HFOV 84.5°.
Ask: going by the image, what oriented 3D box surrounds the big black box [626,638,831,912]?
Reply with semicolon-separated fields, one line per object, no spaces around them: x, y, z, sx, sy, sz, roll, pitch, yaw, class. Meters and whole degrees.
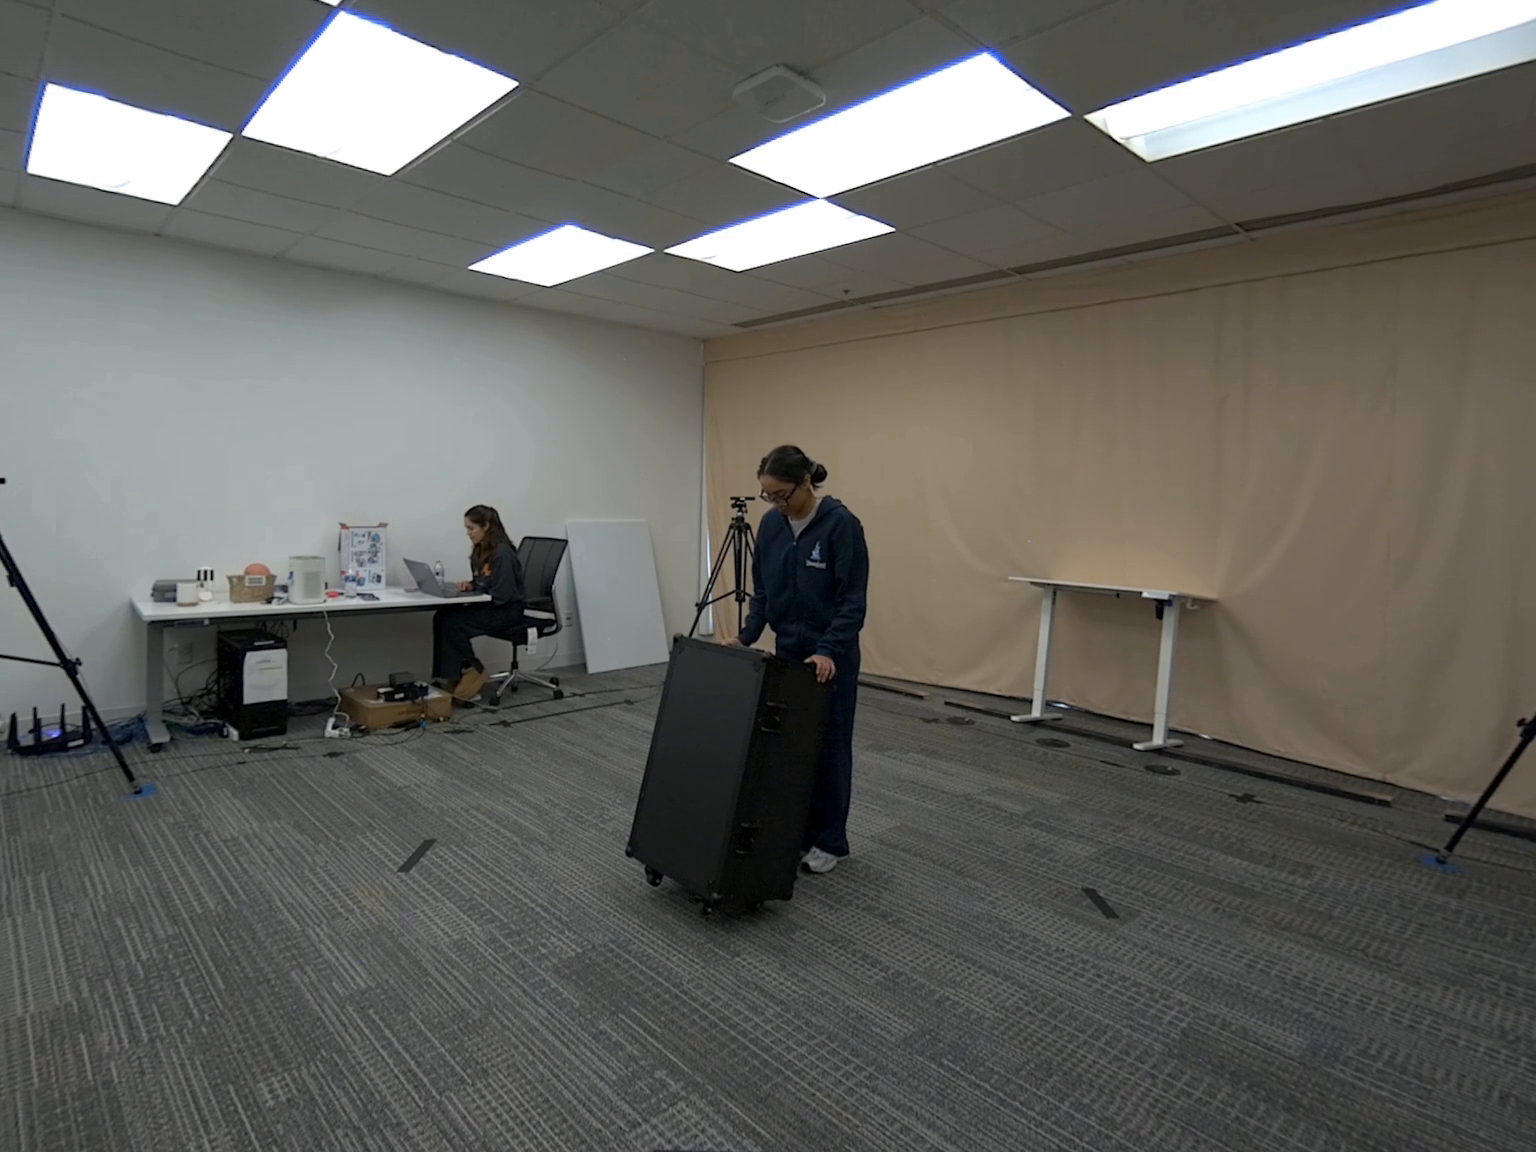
-0.139;0.686;2.929;0.534;0.865;0.385;4;-10;45;big black box
